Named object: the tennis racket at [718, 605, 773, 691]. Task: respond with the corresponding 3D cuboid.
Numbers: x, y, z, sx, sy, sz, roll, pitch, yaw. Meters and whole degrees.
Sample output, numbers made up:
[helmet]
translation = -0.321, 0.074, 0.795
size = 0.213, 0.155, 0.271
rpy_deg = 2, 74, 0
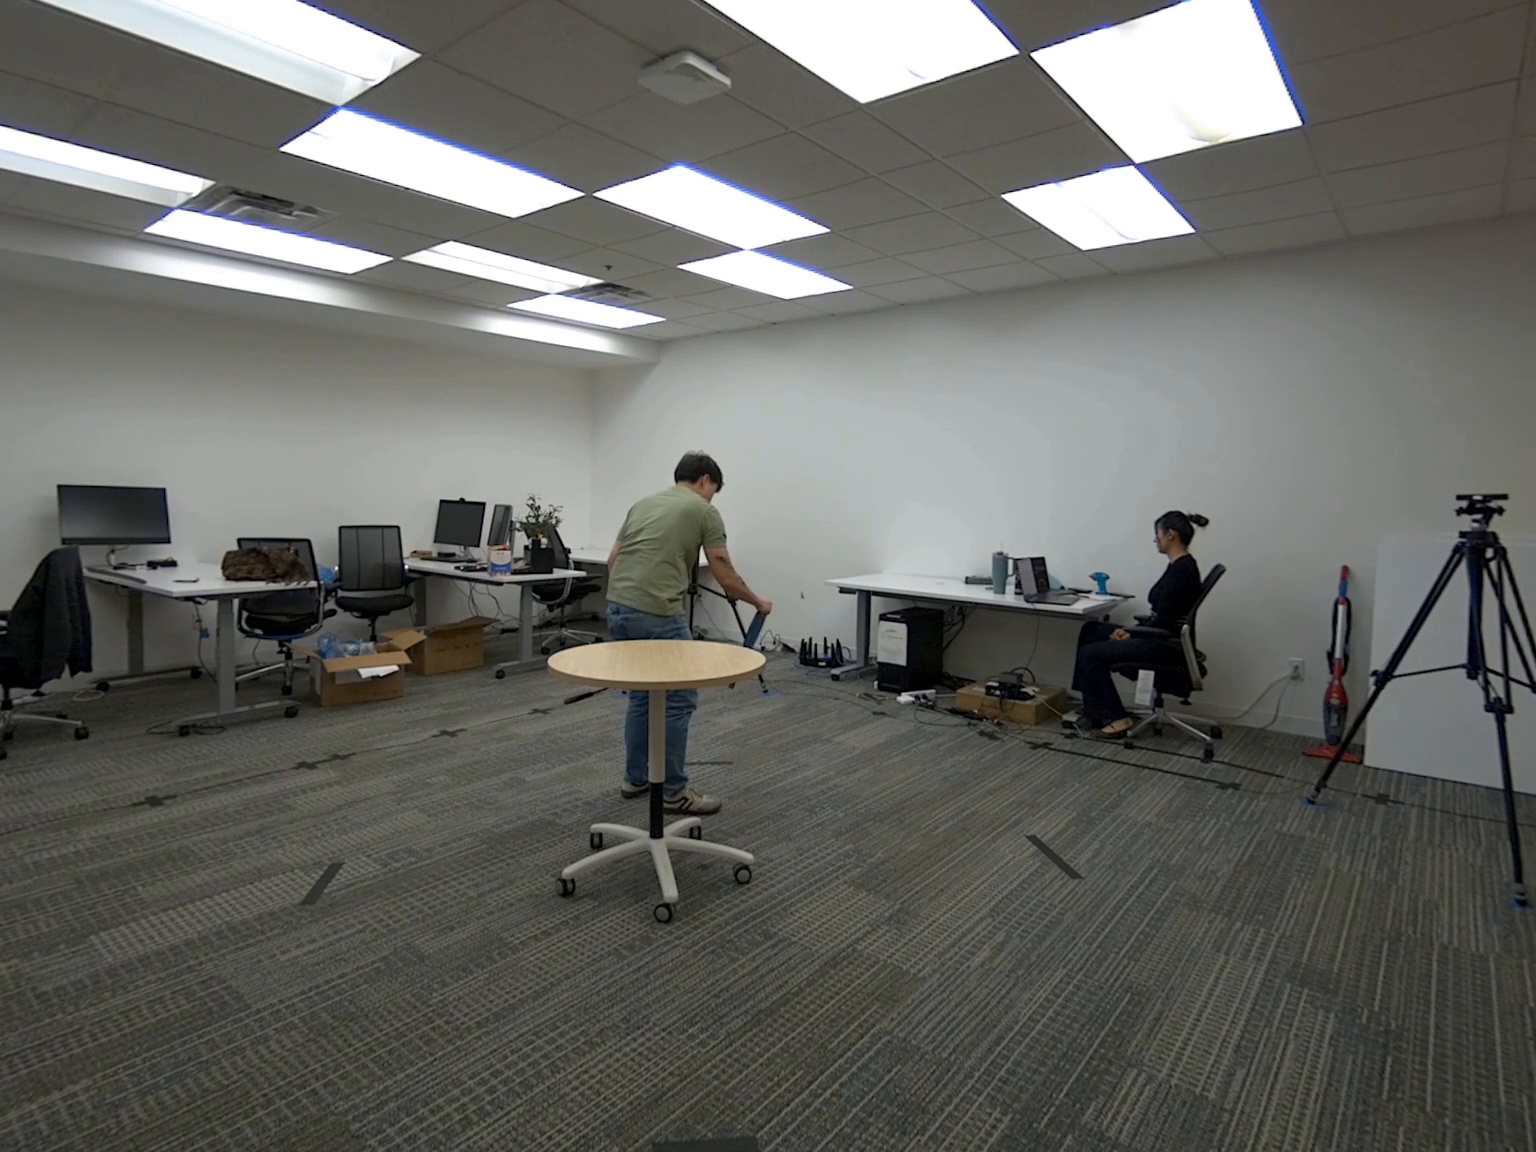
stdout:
[tennis racket]
translation = -0.106, 0.325, 3.983
size = 0.032, 0.434, 0.207
rpy_deg = 21, -5, 19
